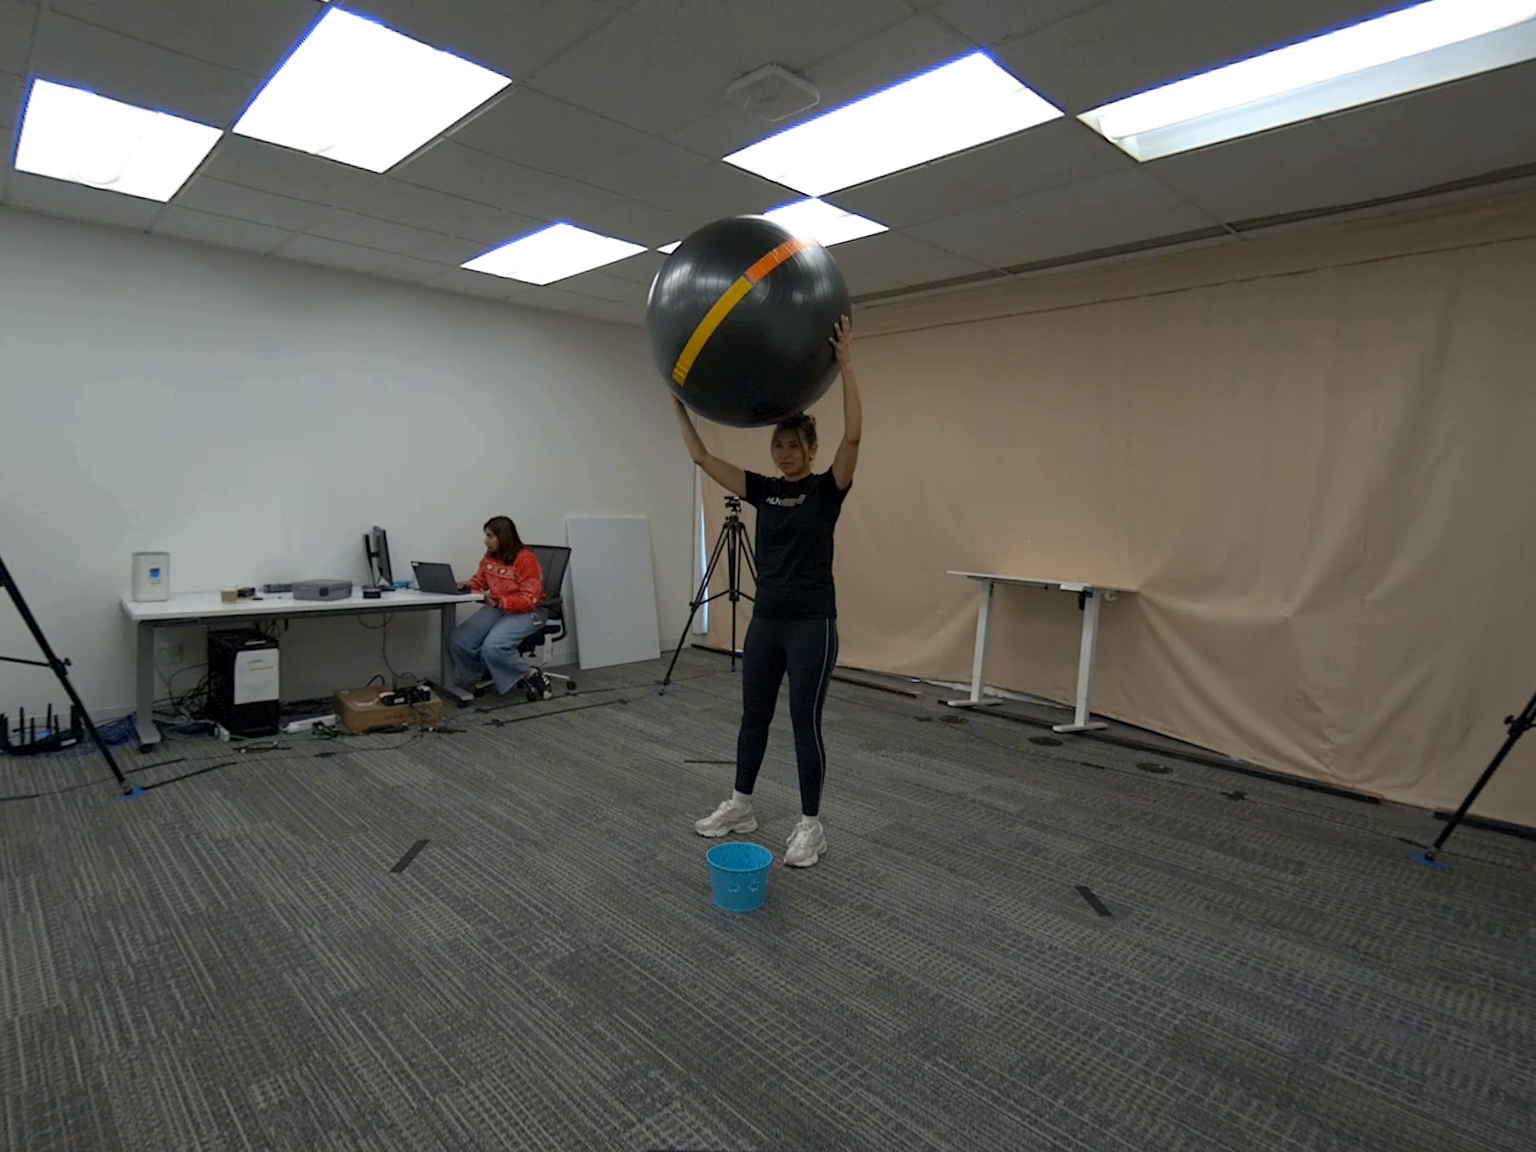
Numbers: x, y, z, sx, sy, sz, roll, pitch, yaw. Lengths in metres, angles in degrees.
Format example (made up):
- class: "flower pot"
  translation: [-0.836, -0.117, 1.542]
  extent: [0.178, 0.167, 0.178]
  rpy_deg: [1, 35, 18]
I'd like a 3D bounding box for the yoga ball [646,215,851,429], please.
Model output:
- class: "yoga ball"
  translation: [-0.078, -0.921, 3.105]
  extent: [0.757, 0.756, 0.761]
  rpy_deg: [1, 4, -1]
